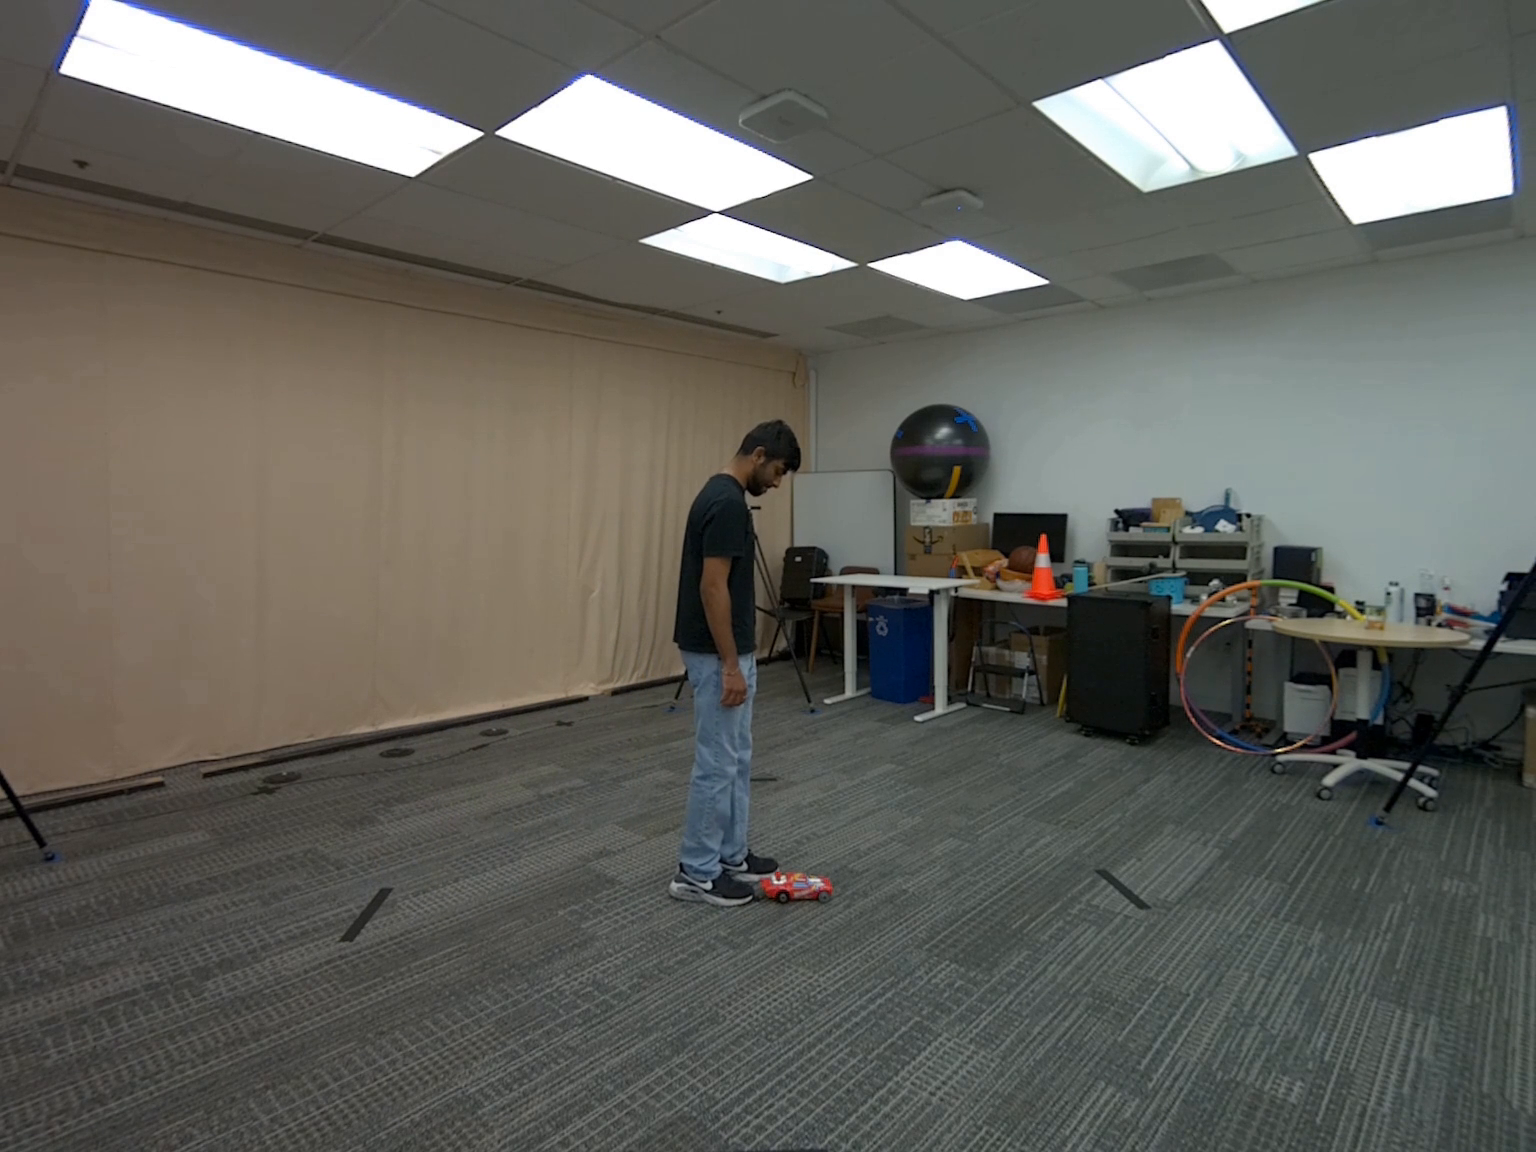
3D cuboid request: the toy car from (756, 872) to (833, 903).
[{"bbox_3d":[0.098,1.114,2.992,0.253,0.083,0.131,11,4,-5],"label":"toy car"}]
